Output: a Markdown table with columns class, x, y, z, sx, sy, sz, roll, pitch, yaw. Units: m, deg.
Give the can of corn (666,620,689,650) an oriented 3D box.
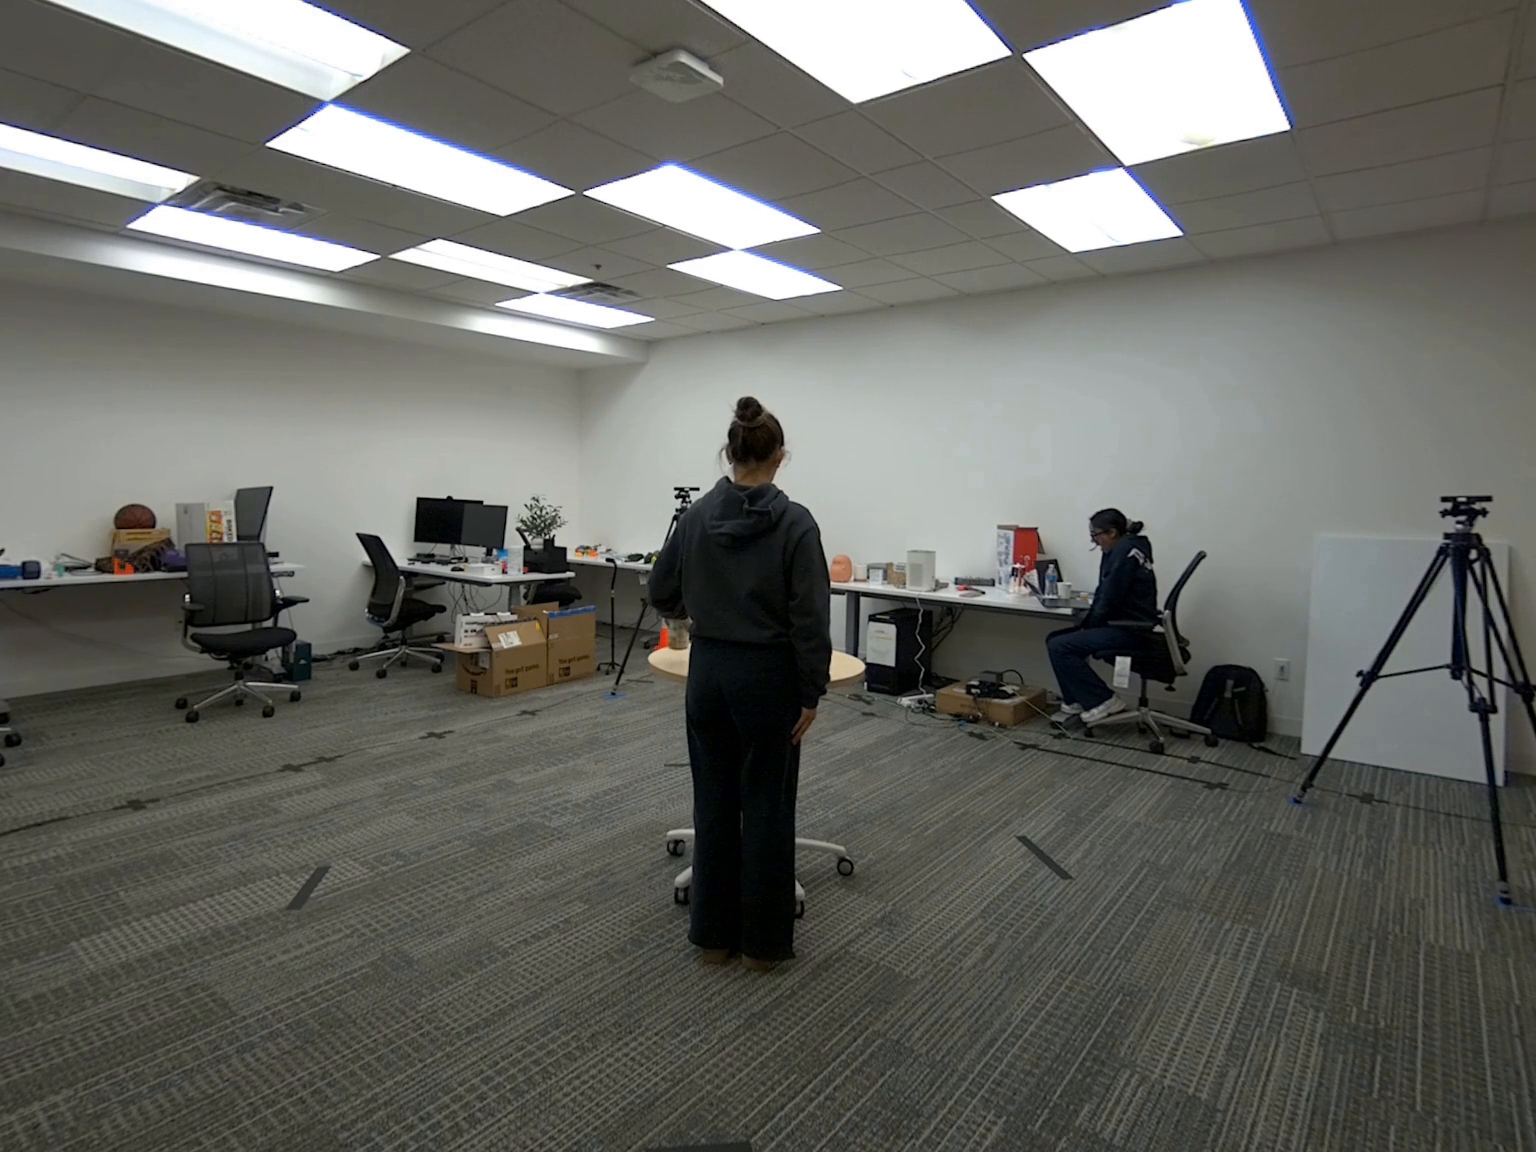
| class | x | y | z | sx | sy | sz | roll | pitch | yaw |
| --- | --- | --- | --- | --- | --- | --- | --- | --- | --- |
| can of corn | -0.312 | 0.199 | 2.923 | 0.074 | 0.110 | 0.075 | 0 | 10 | -2 |
